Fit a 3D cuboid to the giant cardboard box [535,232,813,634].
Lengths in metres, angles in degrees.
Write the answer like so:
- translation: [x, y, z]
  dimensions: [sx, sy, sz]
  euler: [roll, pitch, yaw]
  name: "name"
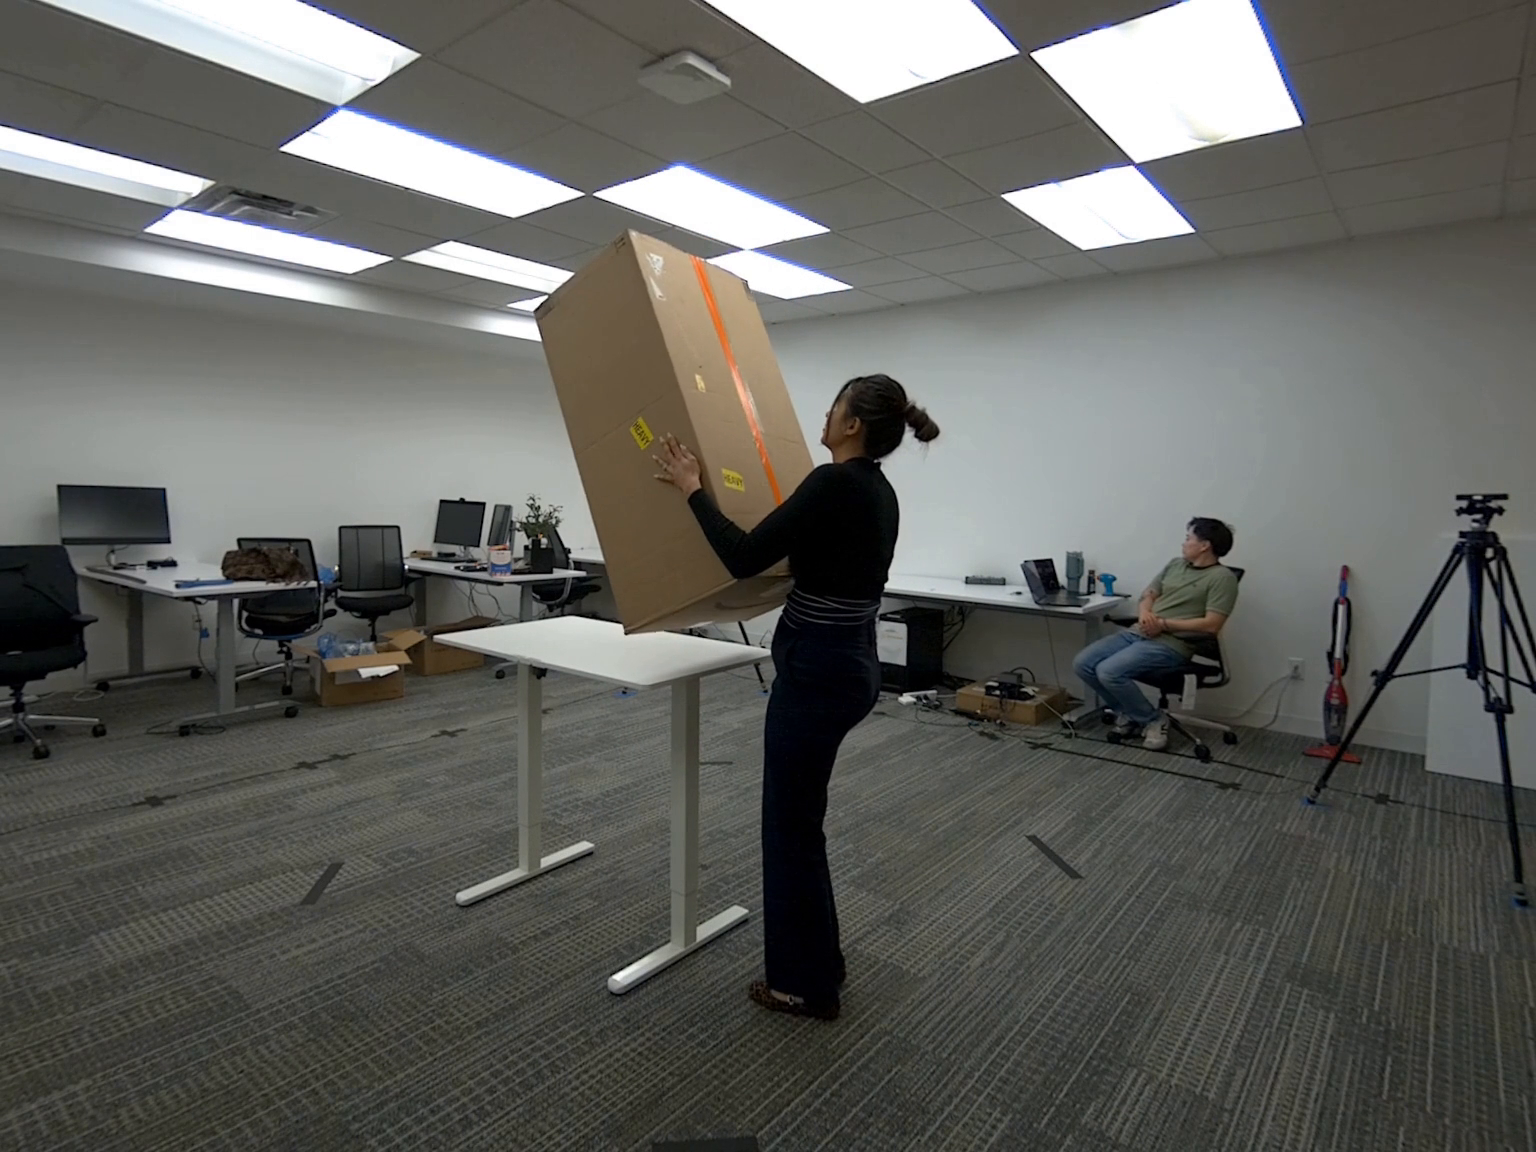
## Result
- translation: [-0.239, -0.398, 2.524]
  dimensions: [0.432, 1.043, 0.560]
  euler: [-27, -16, 33]
  name: "giant cardboard box"
